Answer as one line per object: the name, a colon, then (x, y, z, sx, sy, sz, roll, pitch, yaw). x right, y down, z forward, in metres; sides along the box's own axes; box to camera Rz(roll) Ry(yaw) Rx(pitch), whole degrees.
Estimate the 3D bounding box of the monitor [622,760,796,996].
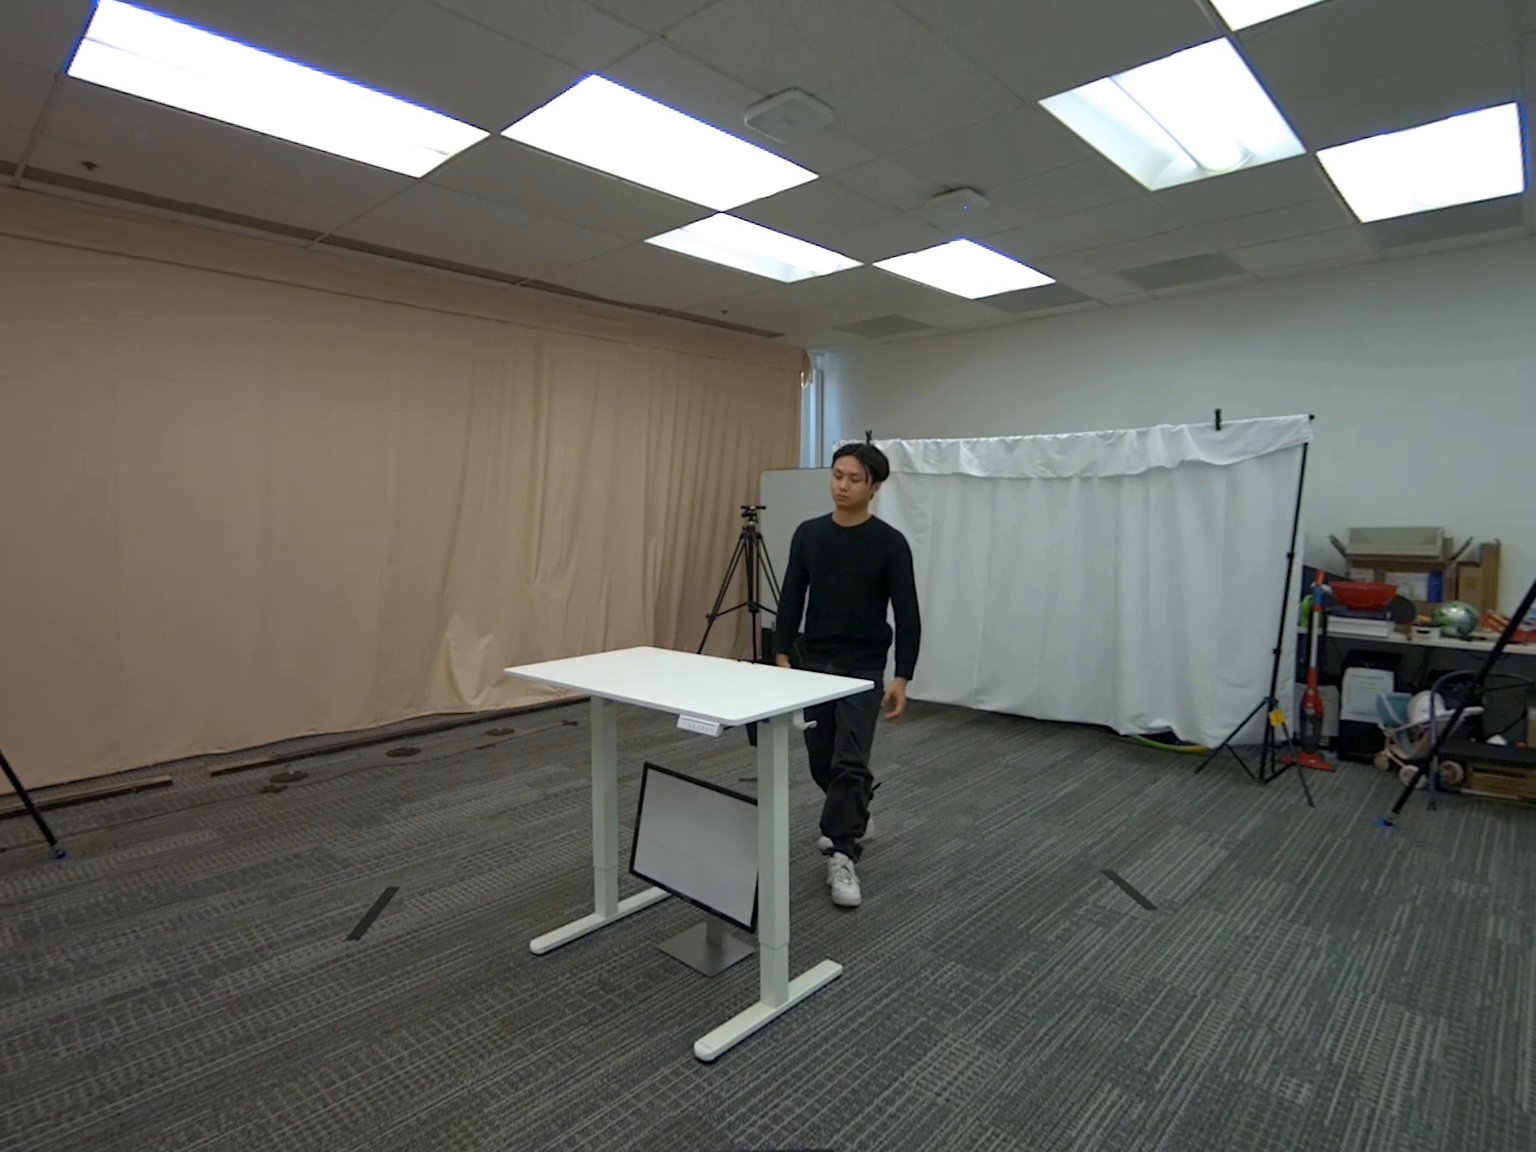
monitor: (-0.193, 0.901, 2.615, 0.548, 0.513, 0.170, 5, 12, 42)
